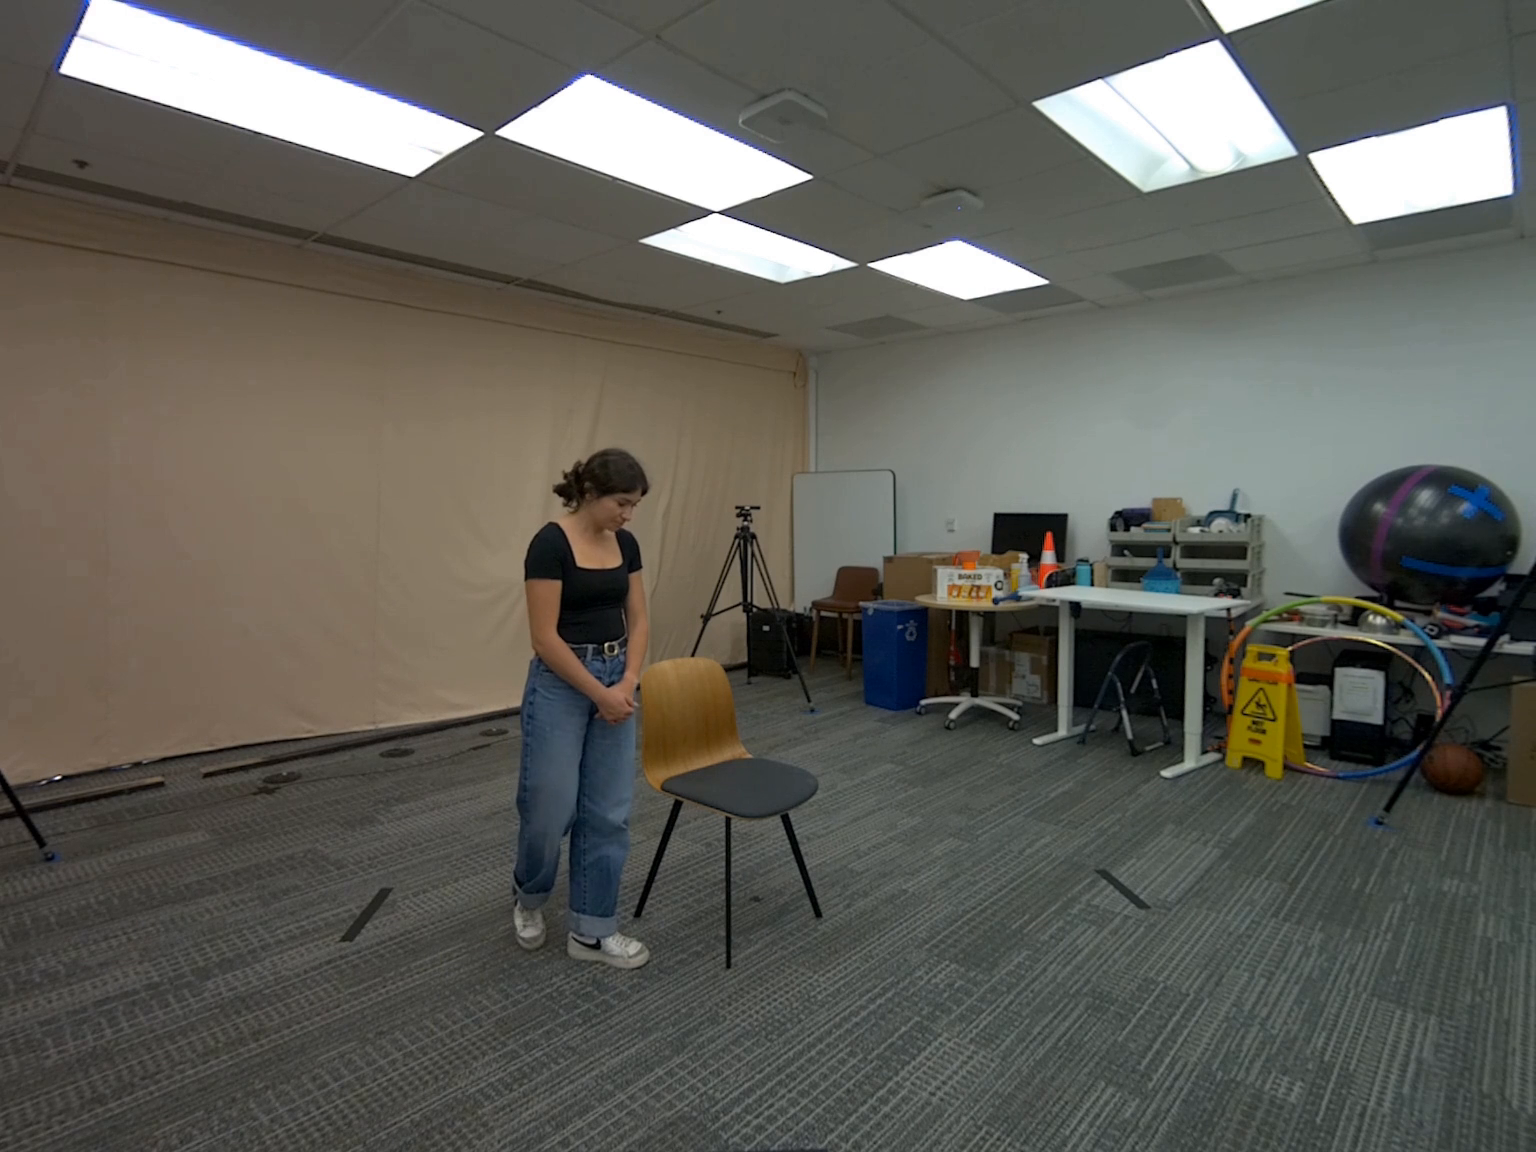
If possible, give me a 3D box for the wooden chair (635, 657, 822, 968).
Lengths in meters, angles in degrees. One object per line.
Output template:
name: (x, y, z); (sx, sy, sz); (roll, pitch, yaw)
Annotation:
wooden chair: (-0.126, 0.735, 2.815); (0.539, 0.877, 0.463); (-3, 1, 43)
